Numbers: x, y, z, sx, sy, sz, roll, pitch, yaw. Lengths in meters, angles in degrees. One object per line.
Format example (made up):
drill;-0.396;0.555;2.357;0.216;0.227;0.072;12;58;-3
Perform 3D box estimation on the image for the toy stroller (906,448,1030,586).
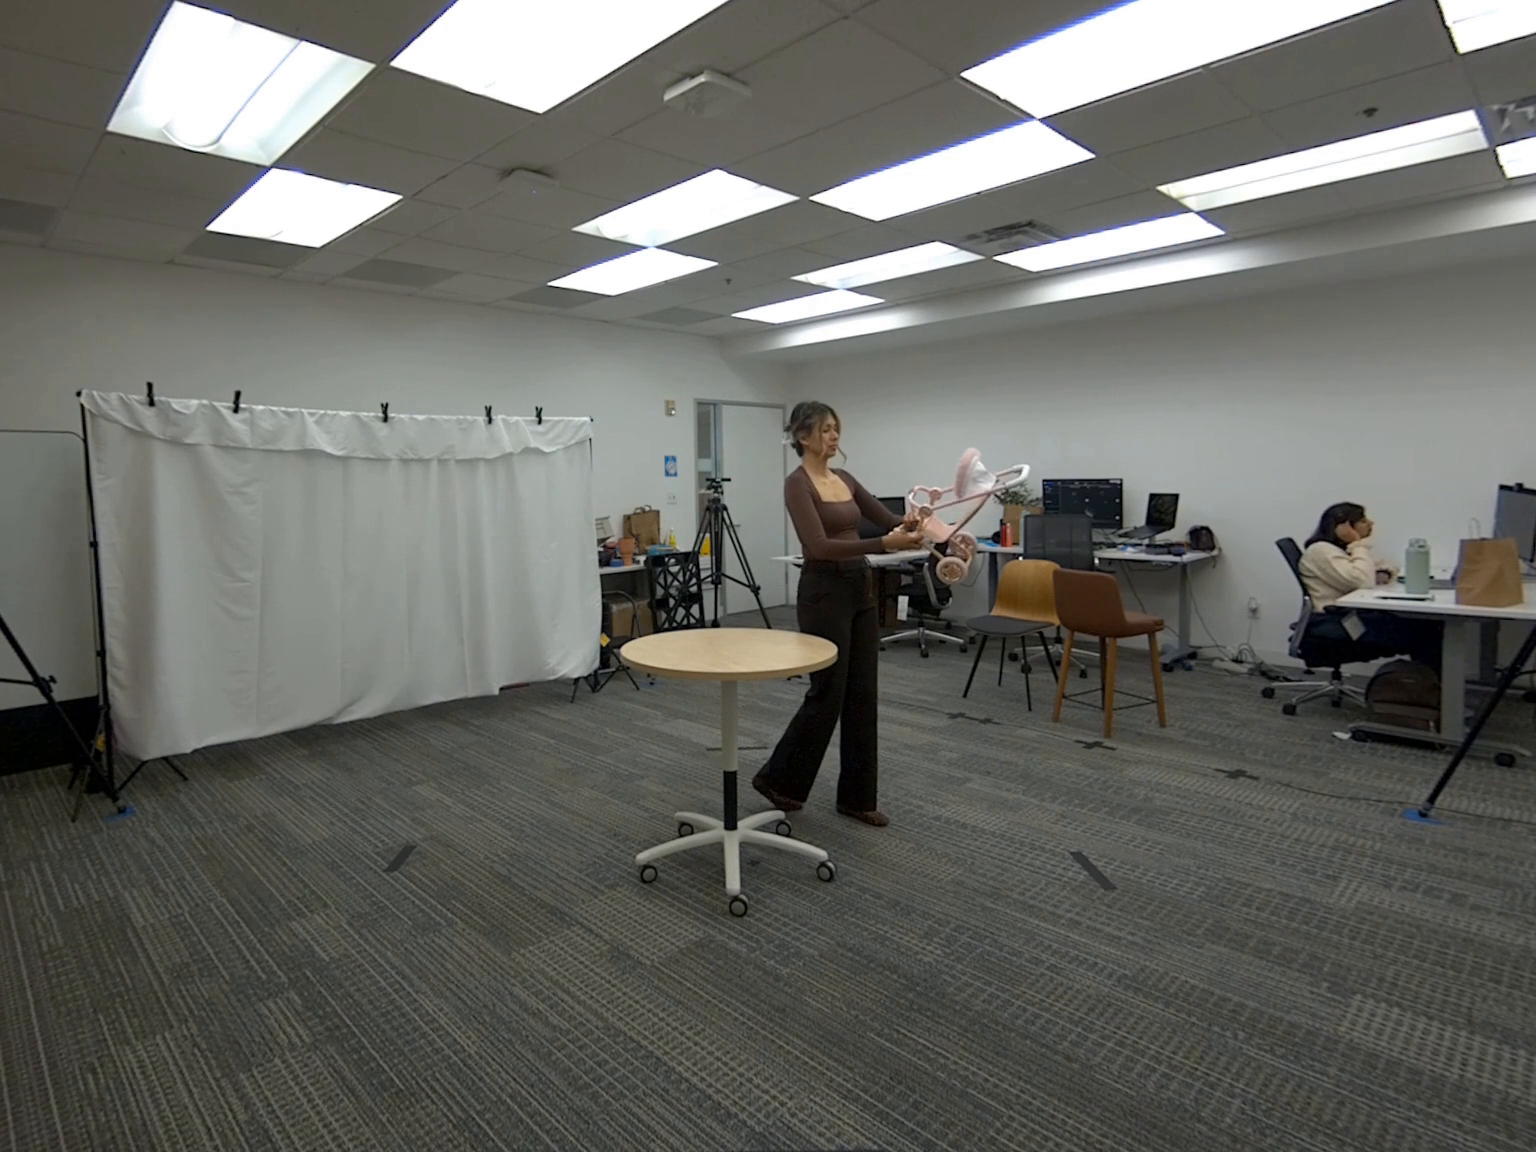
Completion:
toy stroller;0.666;-0.242;3.131;0.348;0.528;0.279;32;32;14
